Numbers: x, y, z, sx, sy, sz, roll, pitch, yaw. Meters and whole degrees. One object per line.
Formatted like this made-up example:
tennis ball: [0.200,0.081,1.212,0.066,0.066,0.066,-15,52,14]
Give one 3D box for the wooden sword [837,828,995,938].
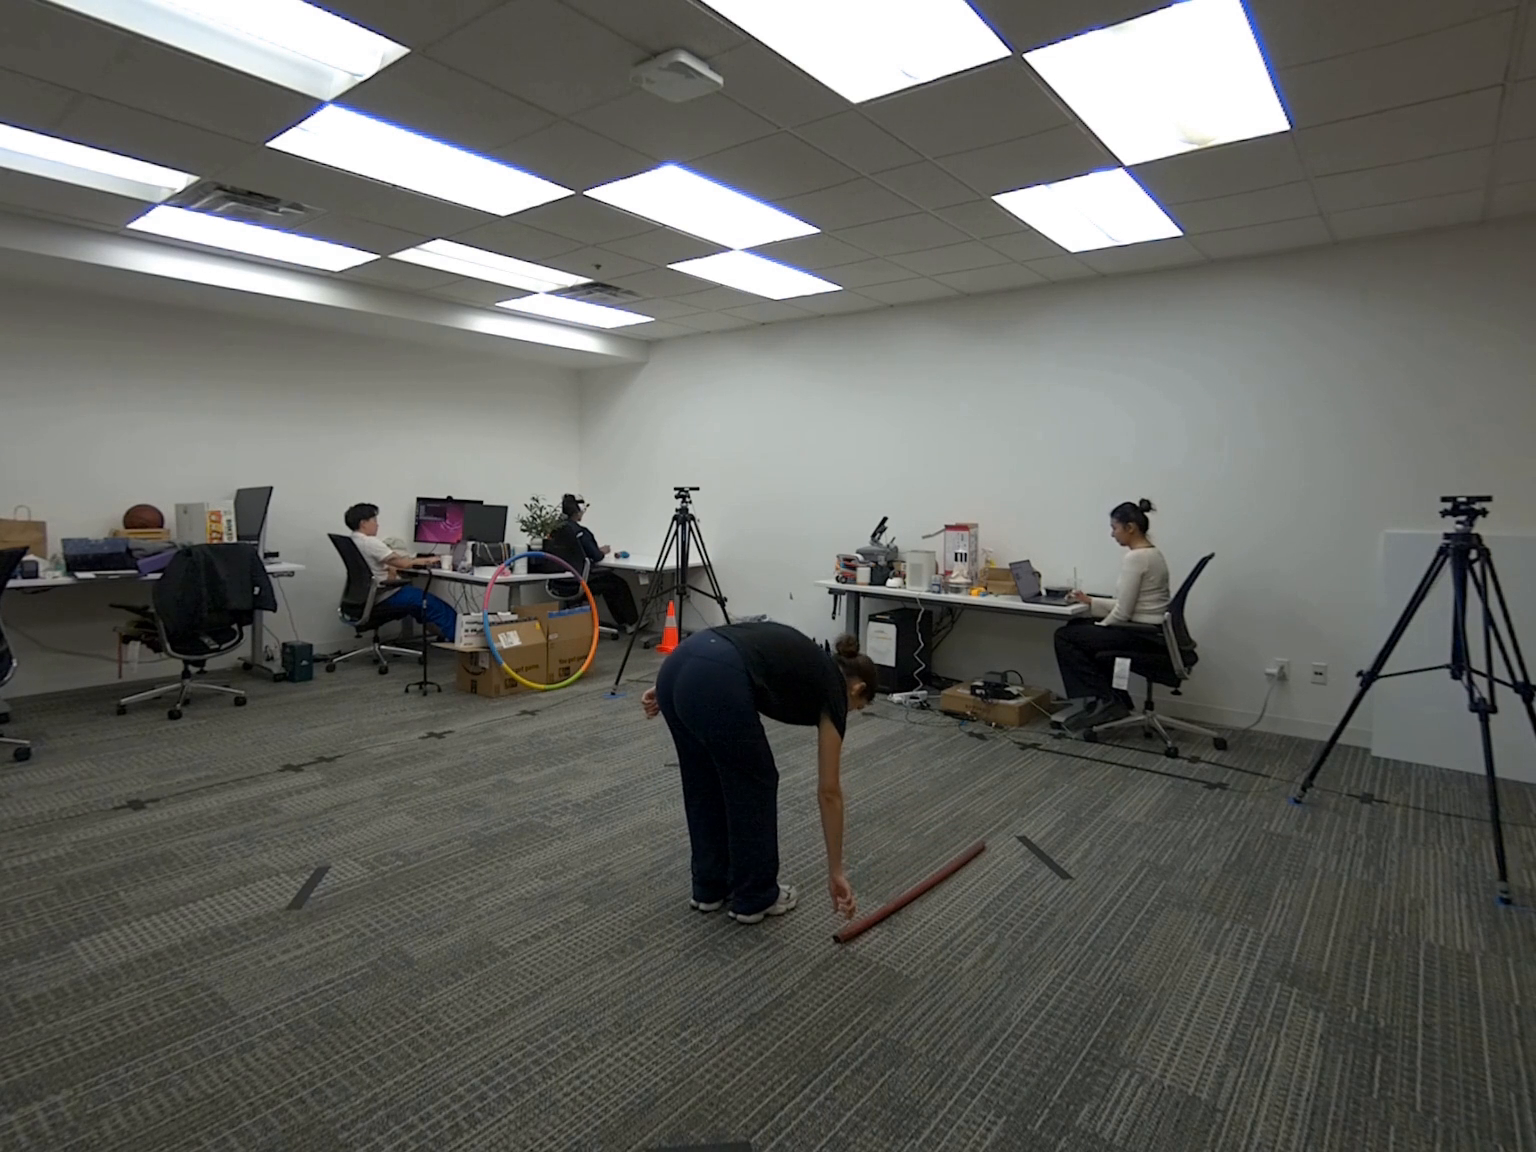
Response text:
wooden sword: [0.558,1.064,2.992,0.053,0.024,0.995,16,14,39]
